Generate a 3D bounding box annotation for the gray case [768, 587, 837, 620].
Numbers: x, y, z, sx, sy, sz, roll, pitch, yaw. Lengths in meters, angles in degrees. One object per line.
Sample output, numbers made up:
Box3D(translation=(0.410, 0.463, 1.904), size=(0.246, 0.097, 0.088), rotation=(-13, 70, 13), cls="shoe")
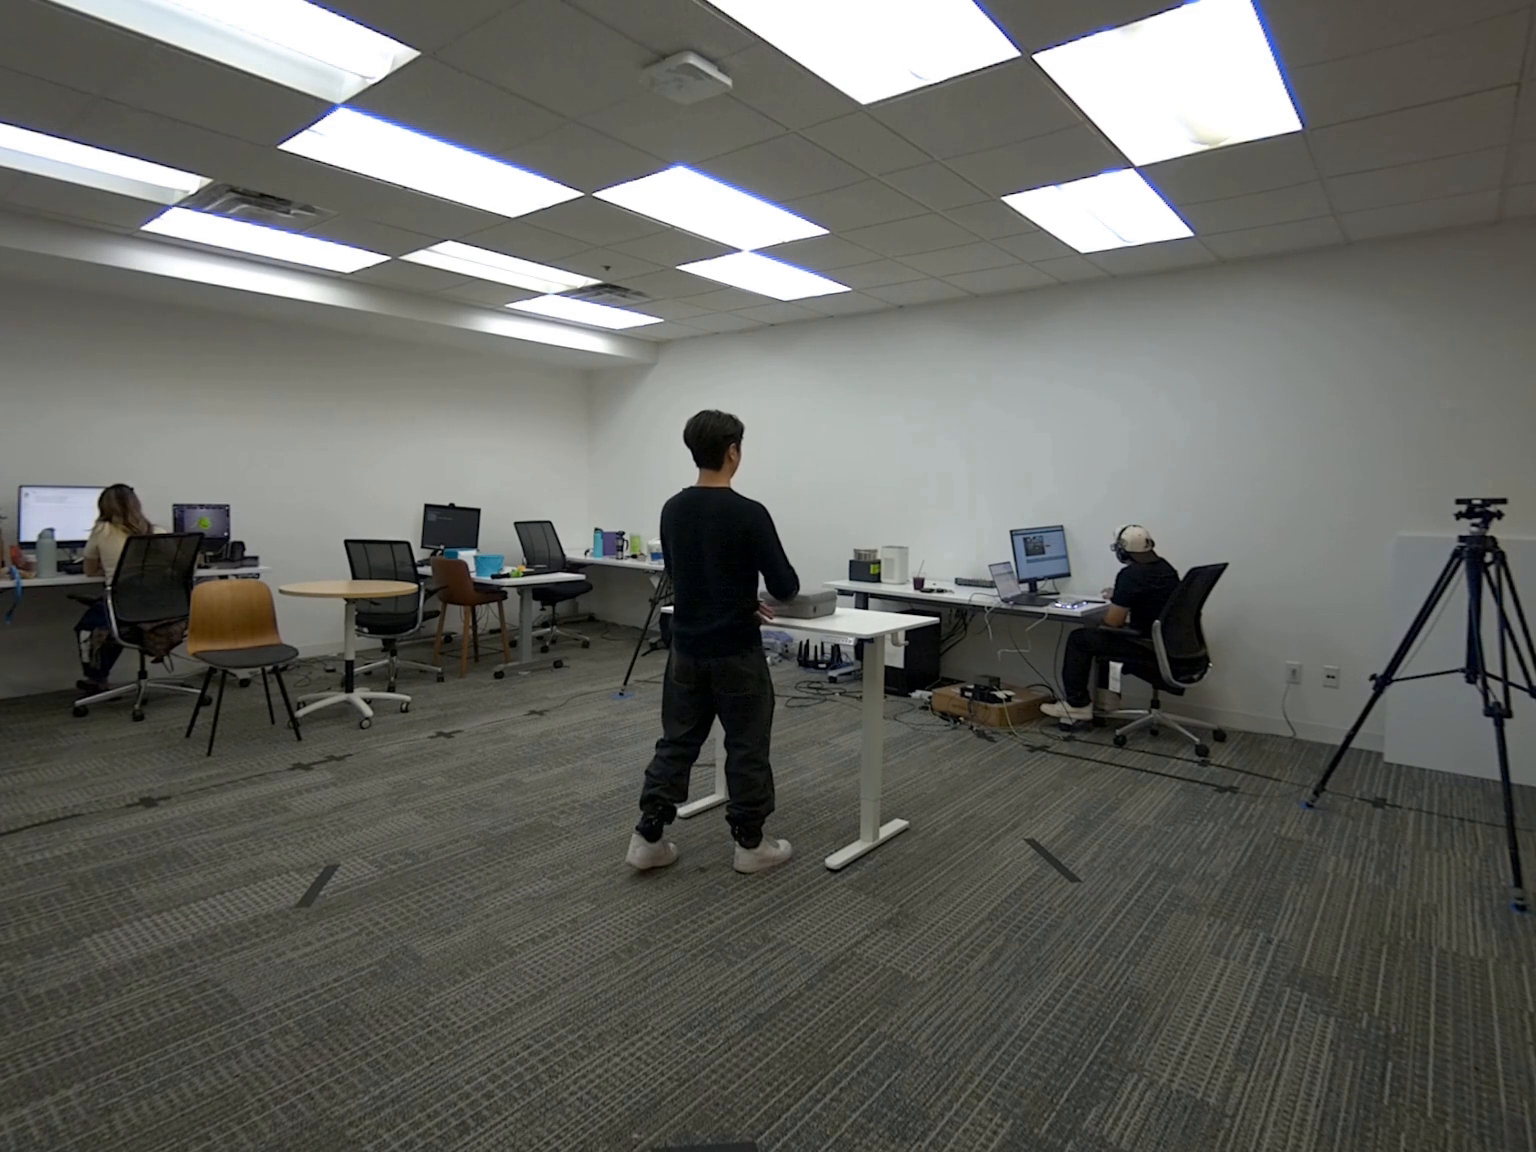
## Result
Box3D(translation=(0.112, 0.099, 3.500), size=(0.265, 0.104, 0.254), rotation=(4, 6, 32), cls="gray case")
